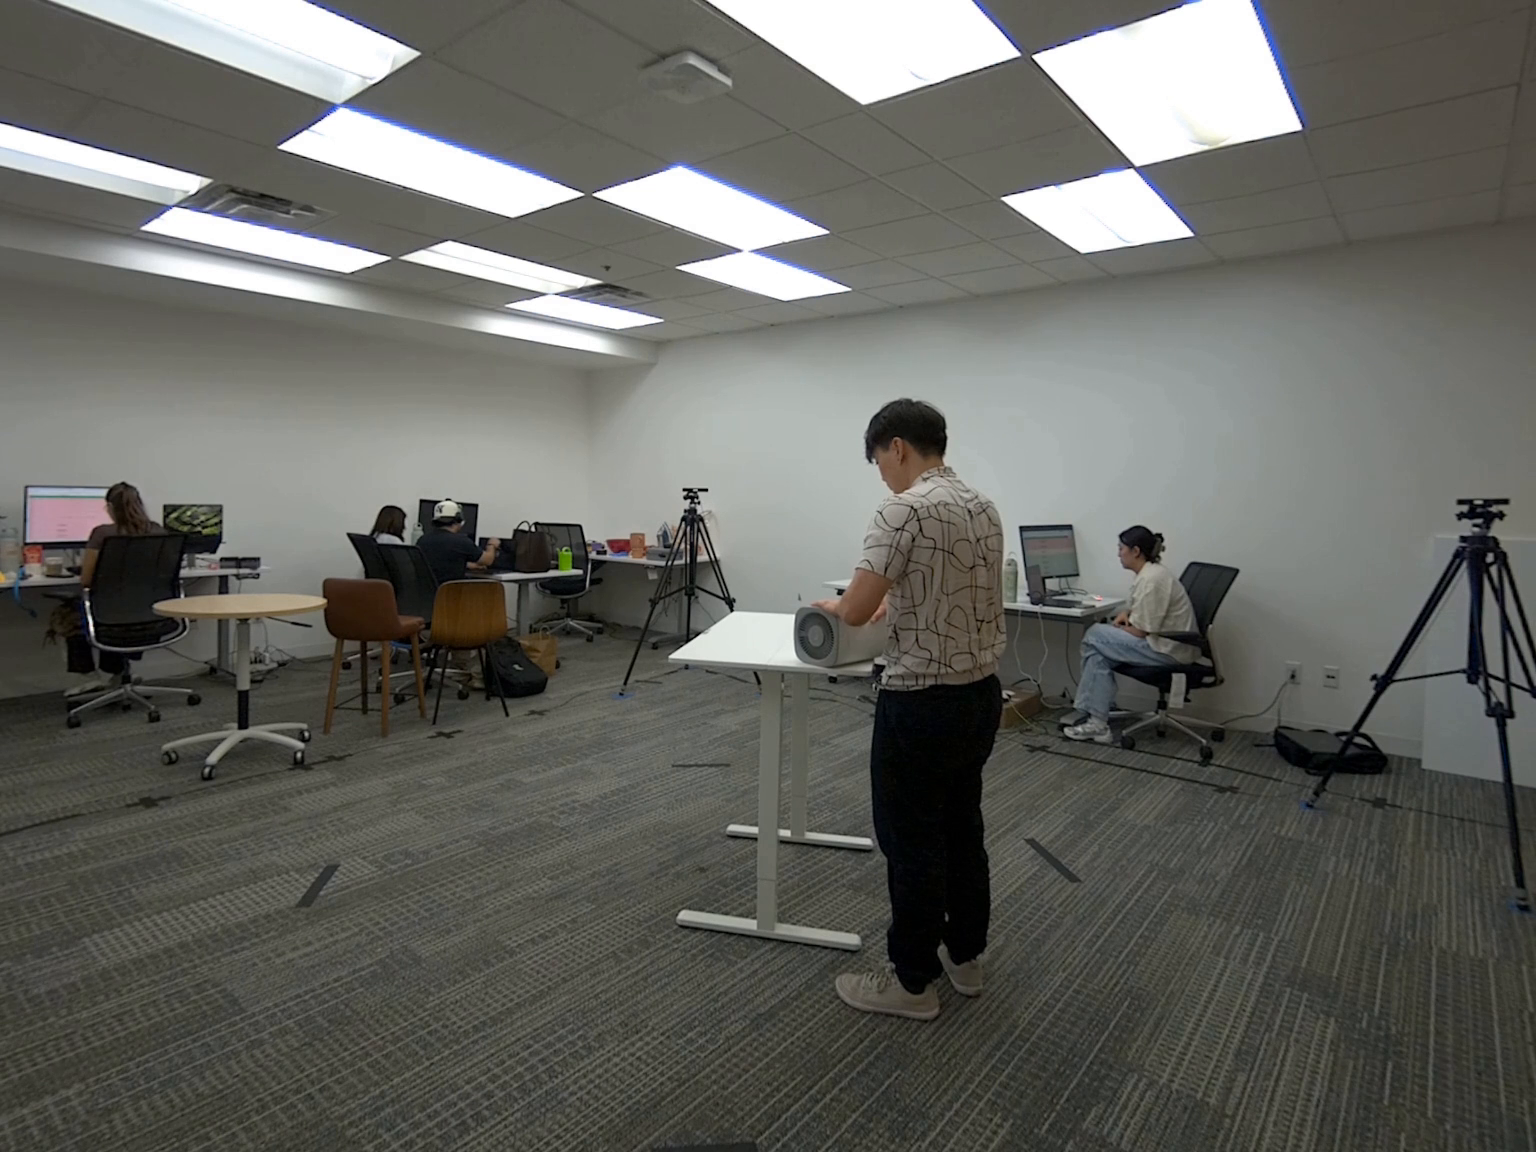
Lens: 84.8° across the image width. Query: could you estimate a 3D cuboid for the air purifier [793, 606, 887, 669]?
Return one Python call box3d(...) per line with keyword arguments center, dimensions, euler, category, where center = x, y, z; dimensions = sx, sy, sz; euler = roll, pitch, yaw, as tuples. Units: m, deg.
box3d(center=(0.224, 0.163, 2.563), dimensions=(0.257, 0.170, 0.177), euler=(-4, 6, -44), category="air purifier")
